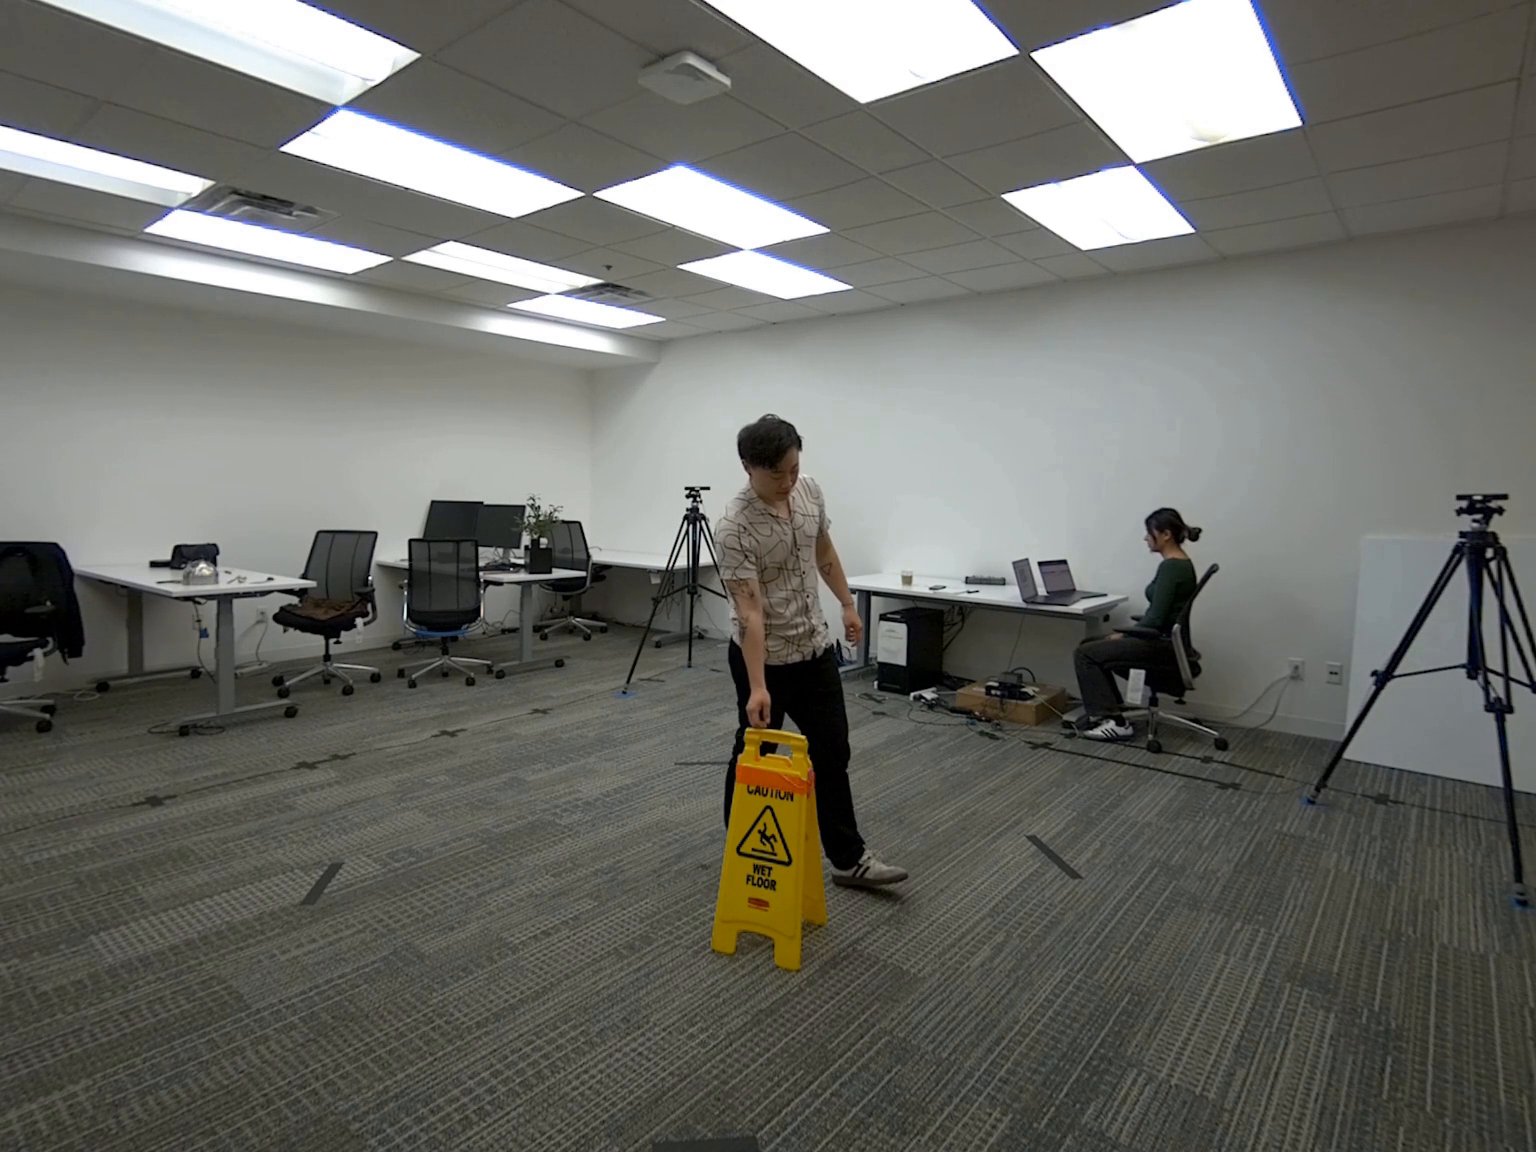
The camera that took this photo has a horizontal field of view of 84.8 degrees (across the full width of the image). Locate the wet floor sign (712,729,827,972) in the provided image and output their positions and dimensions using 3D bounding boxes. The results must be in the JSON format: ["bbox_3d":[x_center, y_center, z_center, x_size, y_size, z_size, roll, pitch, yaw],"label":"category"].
[{"bbox_3d":[0.009,0.793,2.625,0.289,0.644,0.283,4,3,22],"label":"wet floor sign"}]
